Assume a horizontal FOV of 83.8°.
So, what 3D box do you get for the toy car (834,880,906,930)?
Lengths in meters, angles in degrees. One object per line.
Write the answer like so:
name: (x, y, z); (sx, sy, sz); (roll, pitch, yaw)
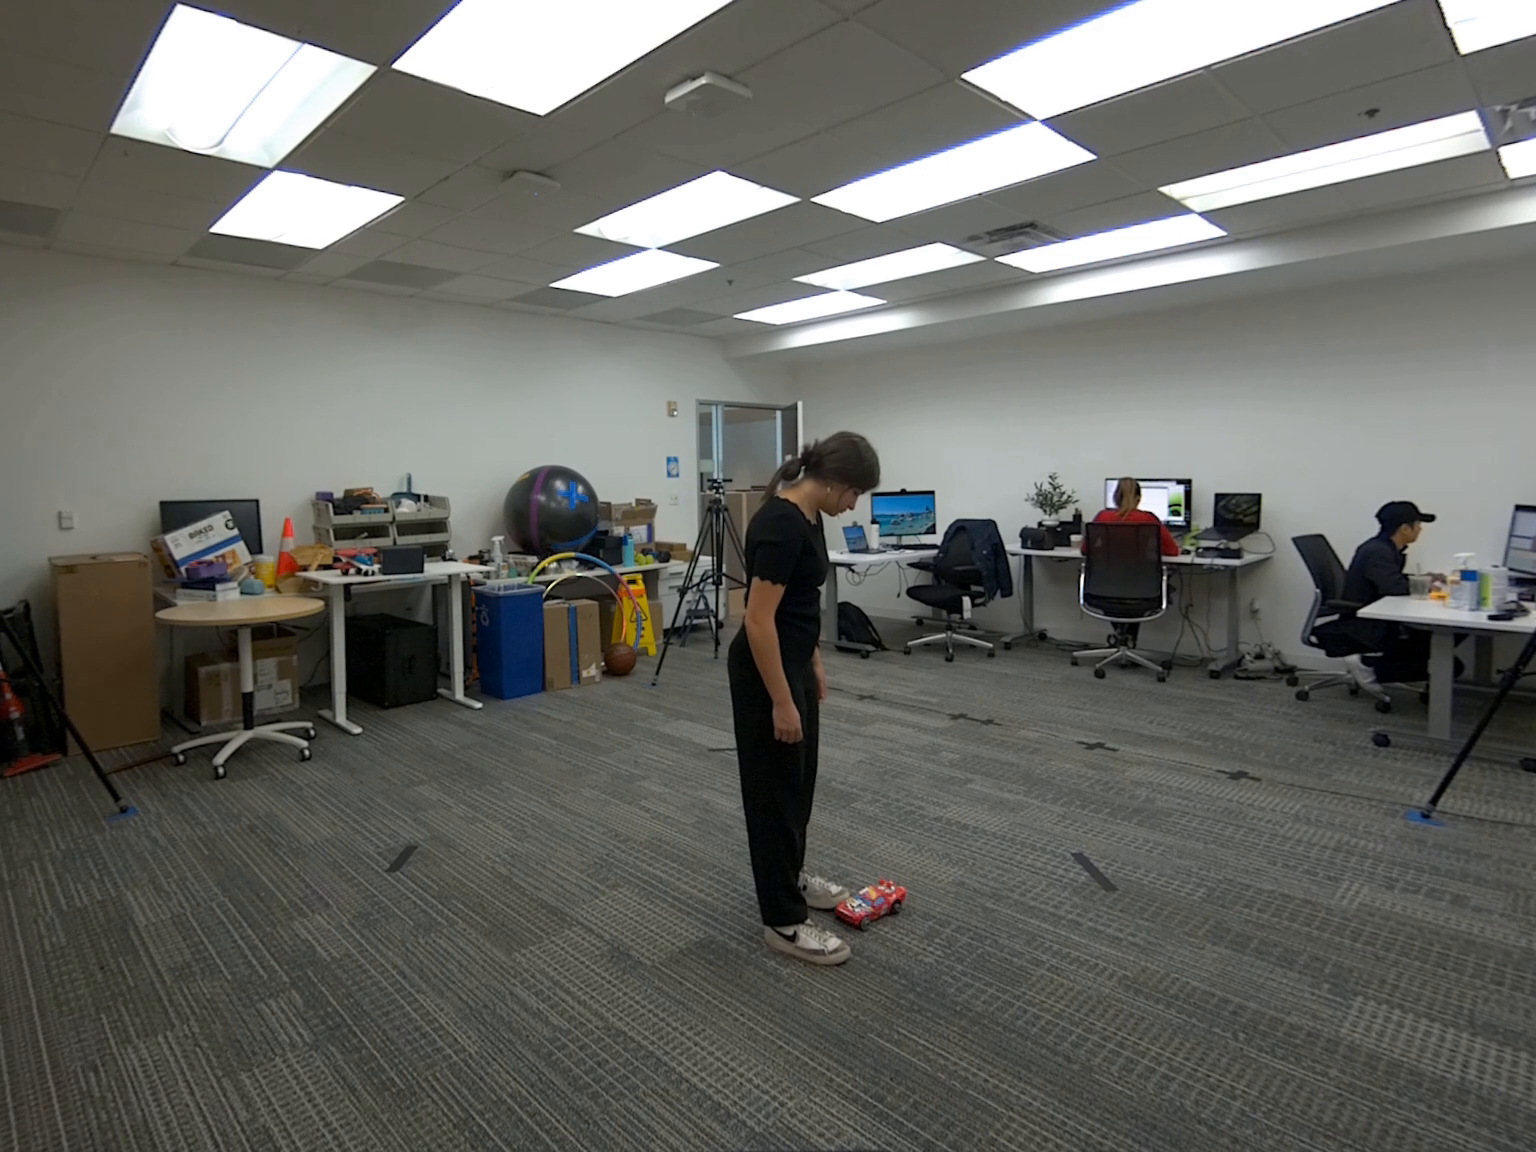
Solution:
toy car: (0.336, 1.044, 2.730); (0.250, 0.082, 0.134); (-20, 16, -36)
